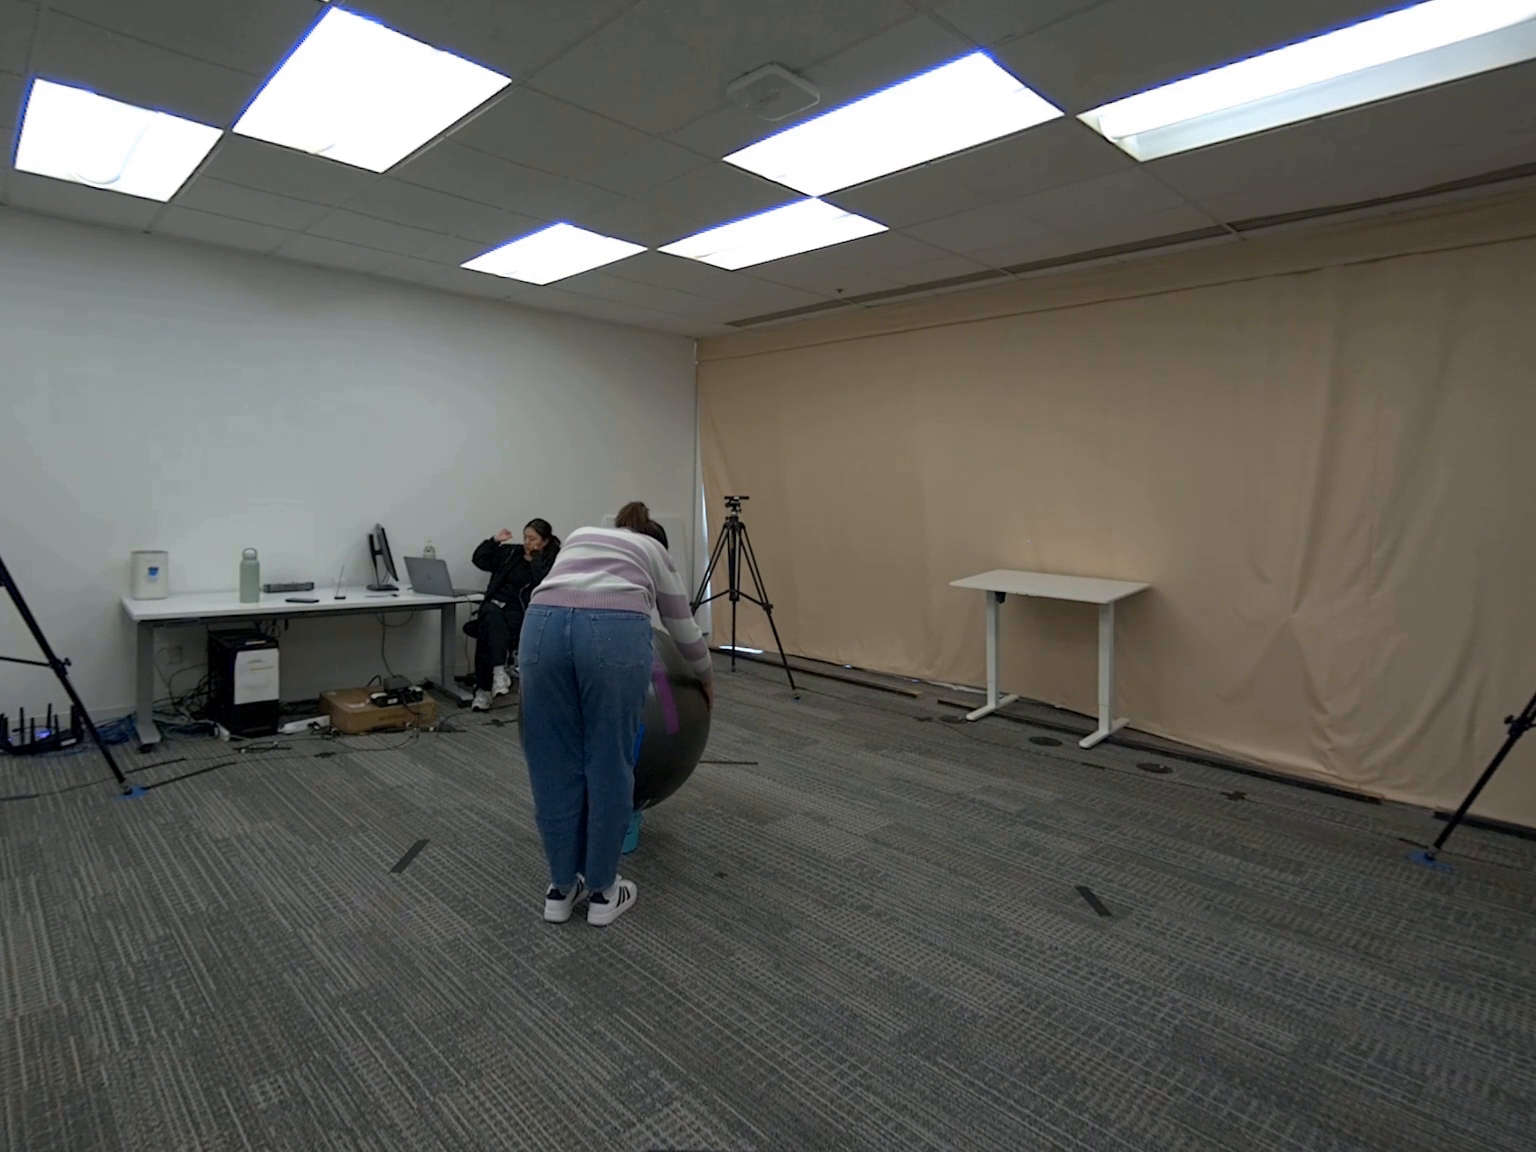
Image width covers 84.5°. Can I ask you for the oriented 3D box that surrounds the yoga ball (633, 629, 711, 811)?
[{"bbox_3d":[-0.612,0.560,3.345,0.757,0.756,0.761,1,4,-1],"label":"yoga ball"}]
